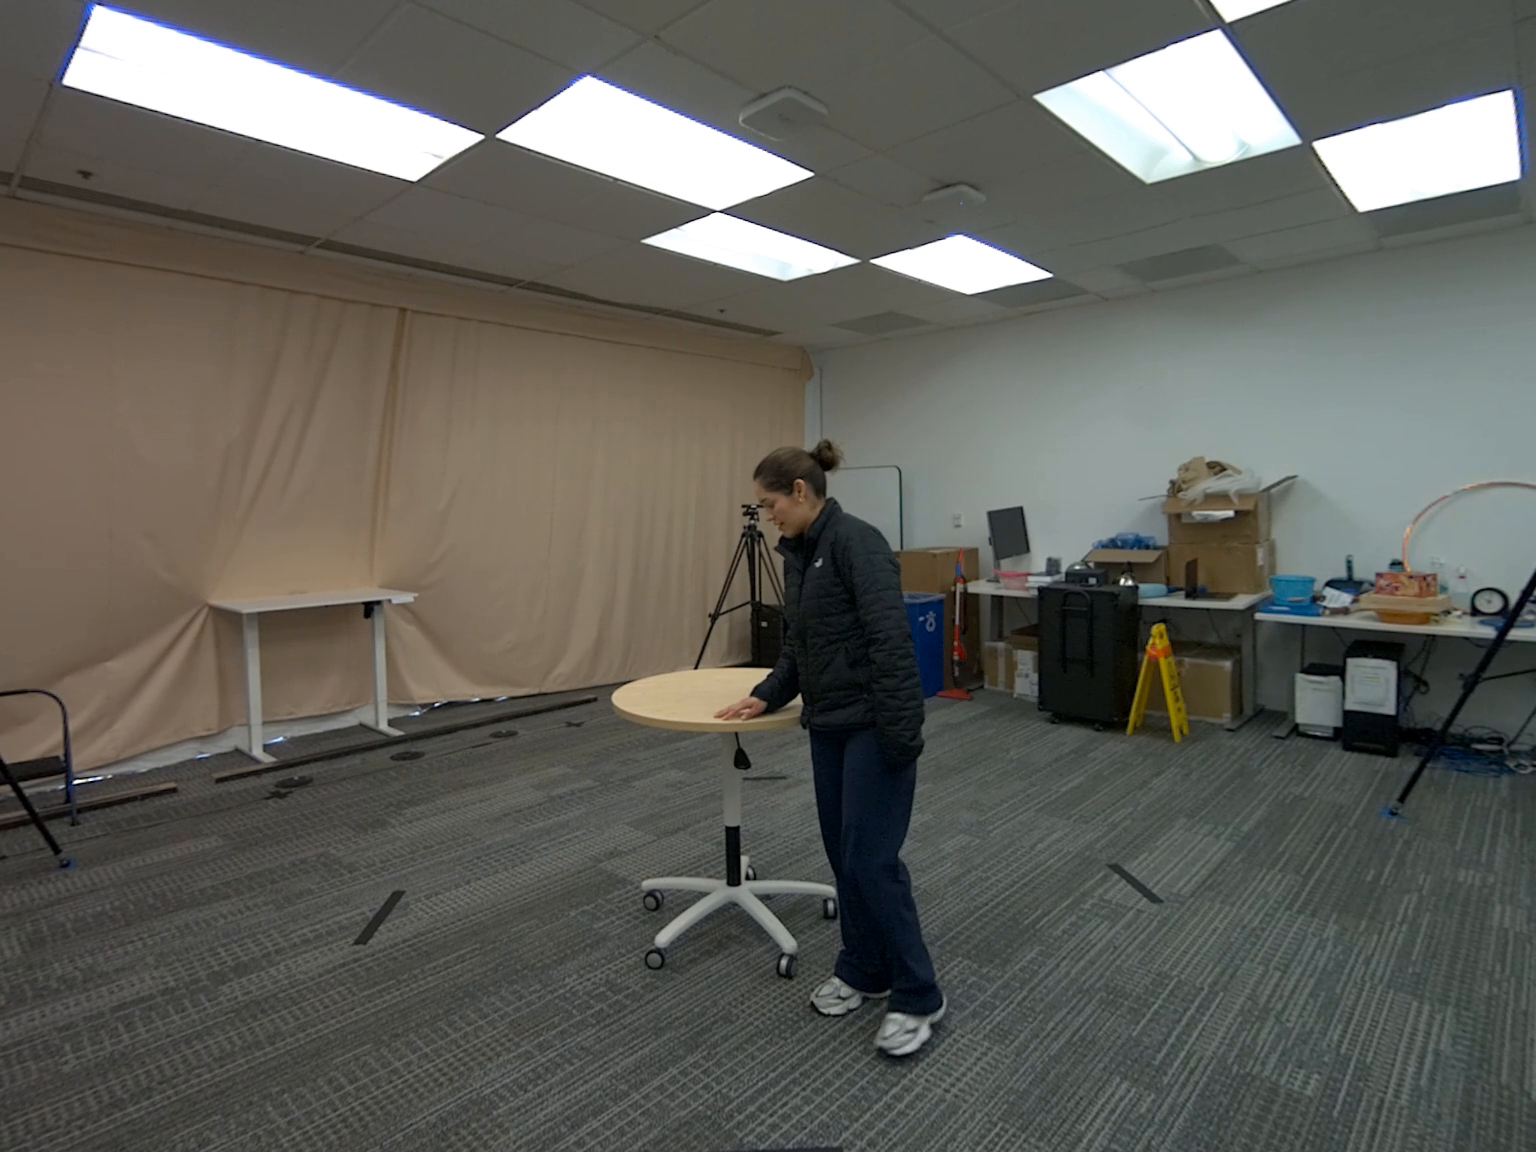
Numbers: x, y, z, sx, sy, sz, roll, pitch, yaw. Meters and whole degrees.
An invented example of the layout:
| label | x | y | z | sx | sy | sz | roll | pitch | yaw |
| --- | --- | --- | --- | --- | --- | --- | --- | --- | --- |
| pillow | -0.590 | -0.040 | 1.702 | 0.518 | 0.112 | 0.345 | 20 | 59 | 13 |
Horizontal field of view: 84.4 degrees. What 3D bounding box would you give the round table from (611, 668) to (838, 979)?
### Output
| label | x | y | z | sx | sy | sz | roll | pitch | yaw |
| --- | --- | --- | --- | --- | --- | --- | --- | --- | --- |
| round table | -0.113 | 0.767 | 2.782 | 0.784 | 0.784 | 0.788 | -1 | 4 | -2 |
